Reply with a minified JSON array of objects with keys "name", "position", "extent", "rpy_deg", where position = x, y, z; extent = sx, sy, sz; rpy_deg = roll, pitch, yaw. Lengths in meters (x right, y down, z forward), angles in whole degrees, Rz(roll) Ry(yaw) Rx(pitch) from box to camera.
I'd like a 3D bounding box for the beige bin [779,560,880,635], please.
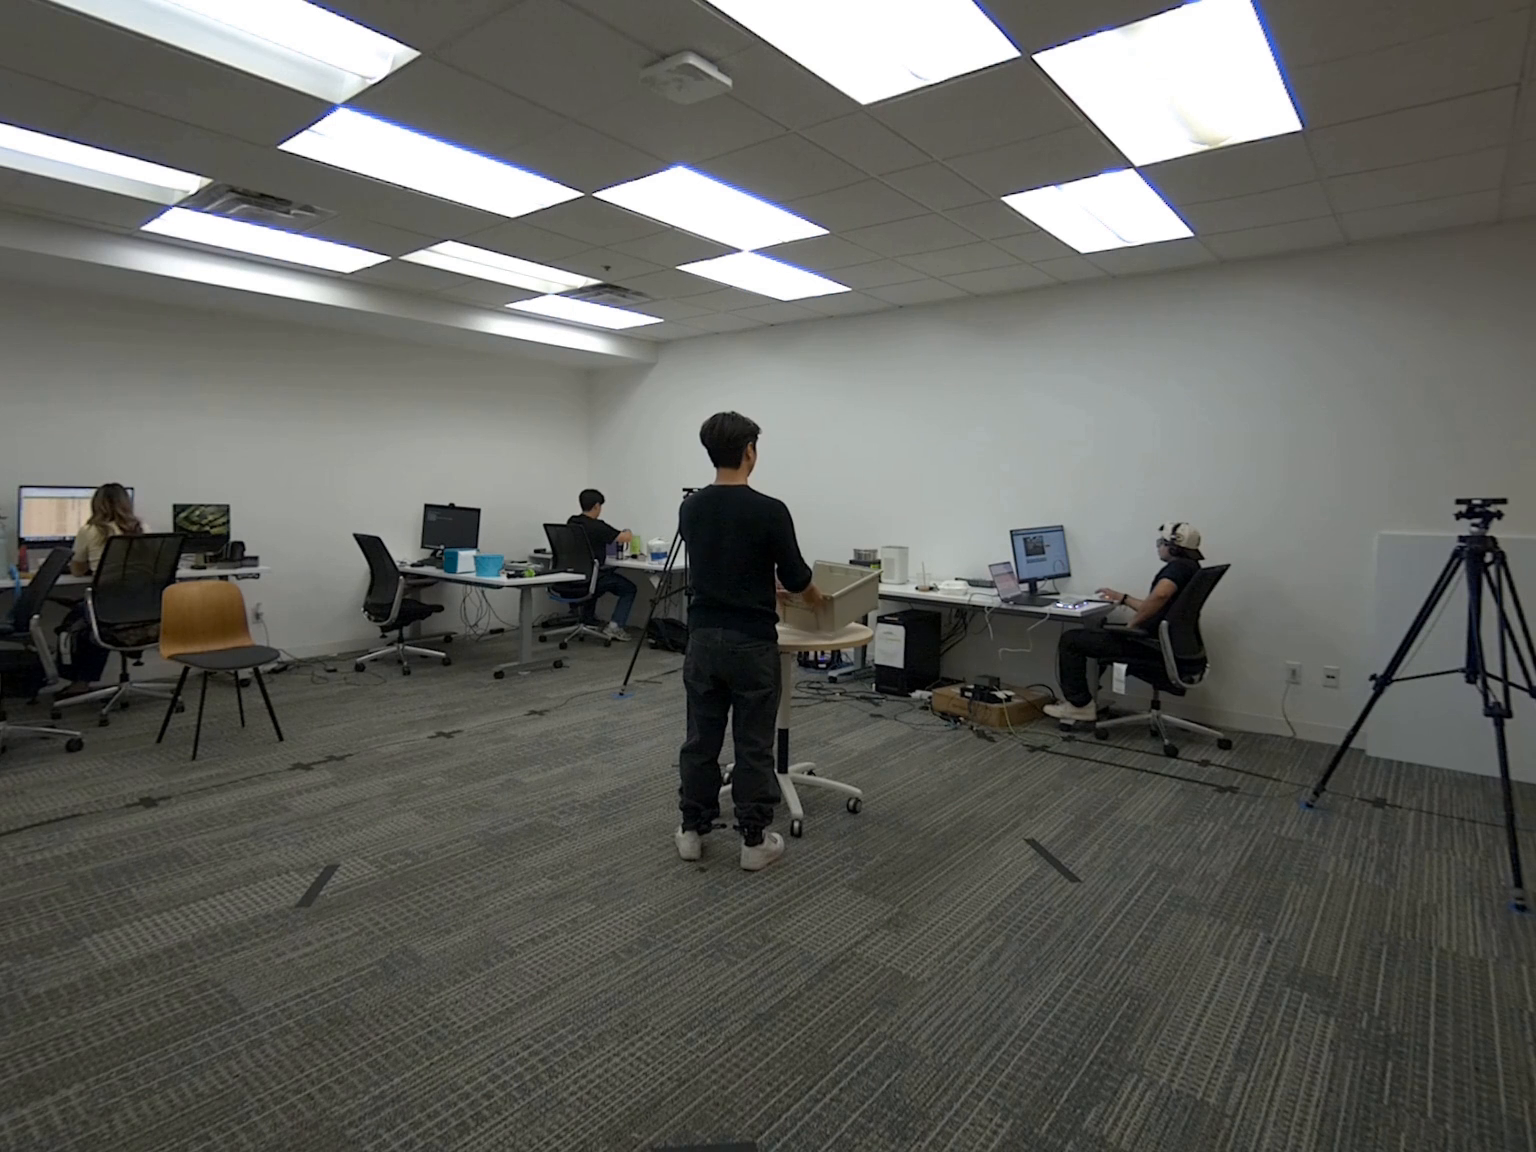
[{"name":"beige bin","position":[0.222,0.079,3.699],"extent":[0.390,0.186,0.414],"rpy_deg":[10,20,34]}]
